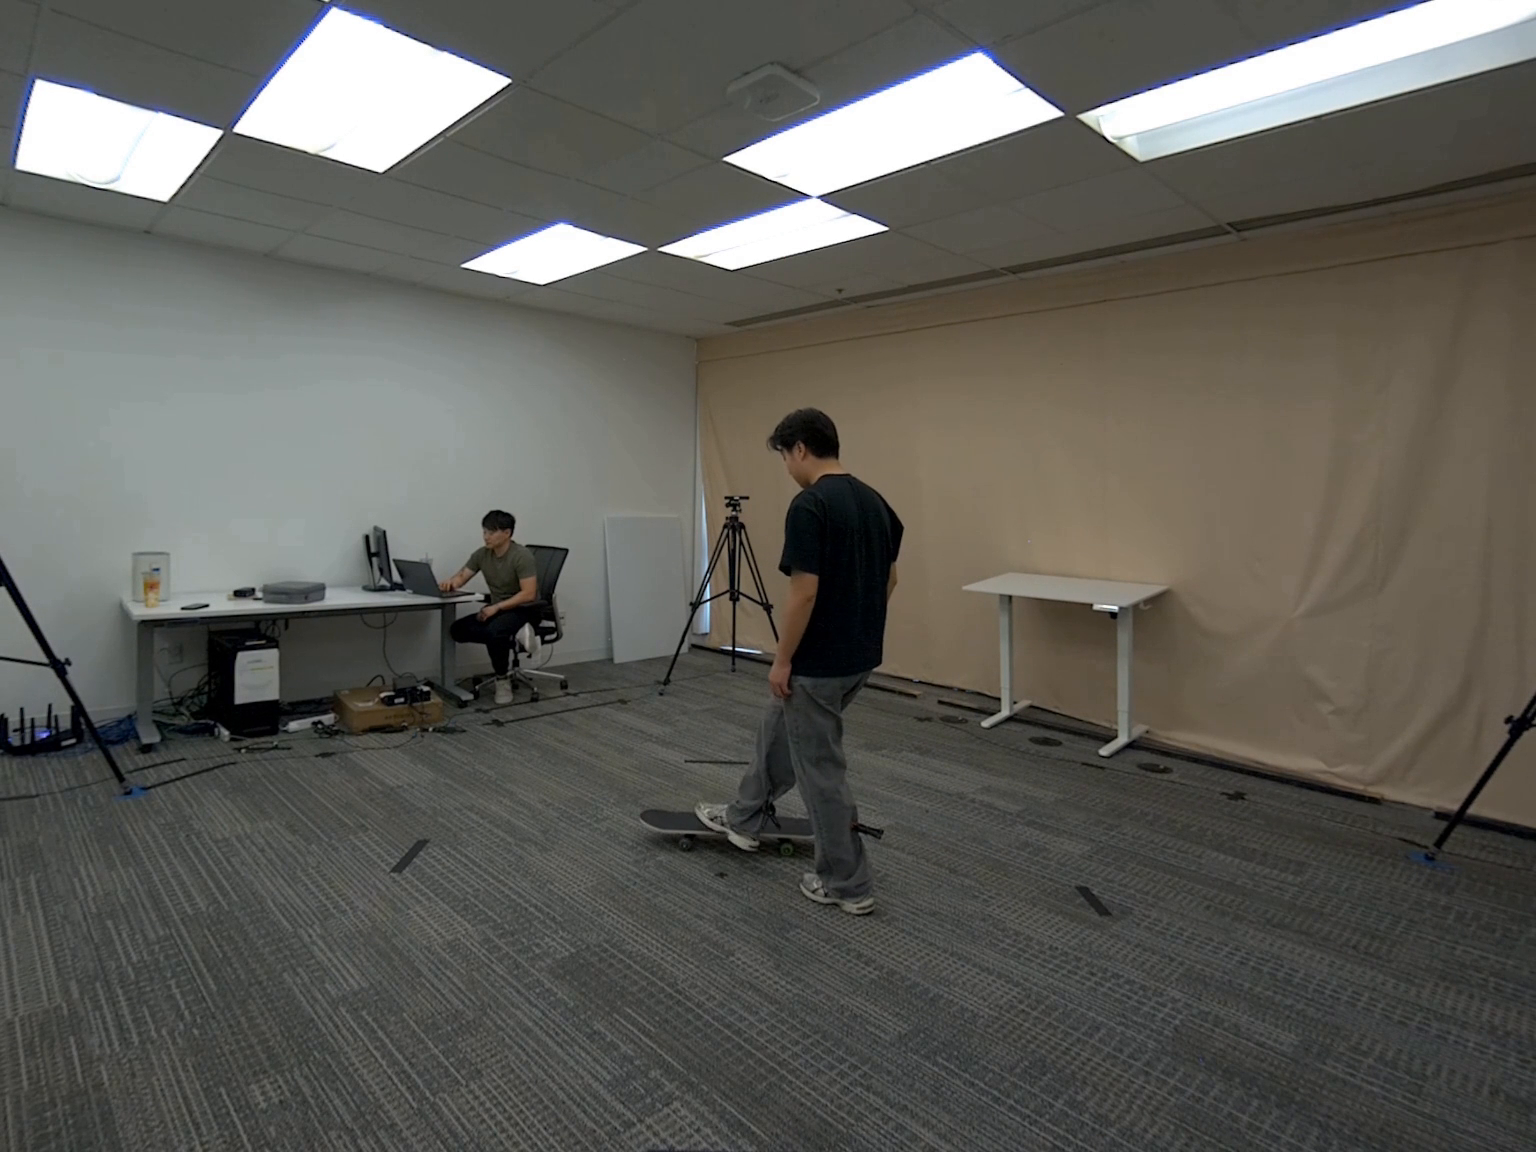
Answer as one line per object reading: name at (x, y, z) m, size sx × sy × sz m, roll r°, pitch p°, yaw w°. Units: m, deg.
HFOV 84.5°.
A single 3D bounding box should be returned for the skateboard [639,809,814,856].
skateboard at (-0.128, 1.024, 3.375) m, size 0.788 × 0.110 × 0.193 m, roll 2°, pitch 4°, yaw 4°
